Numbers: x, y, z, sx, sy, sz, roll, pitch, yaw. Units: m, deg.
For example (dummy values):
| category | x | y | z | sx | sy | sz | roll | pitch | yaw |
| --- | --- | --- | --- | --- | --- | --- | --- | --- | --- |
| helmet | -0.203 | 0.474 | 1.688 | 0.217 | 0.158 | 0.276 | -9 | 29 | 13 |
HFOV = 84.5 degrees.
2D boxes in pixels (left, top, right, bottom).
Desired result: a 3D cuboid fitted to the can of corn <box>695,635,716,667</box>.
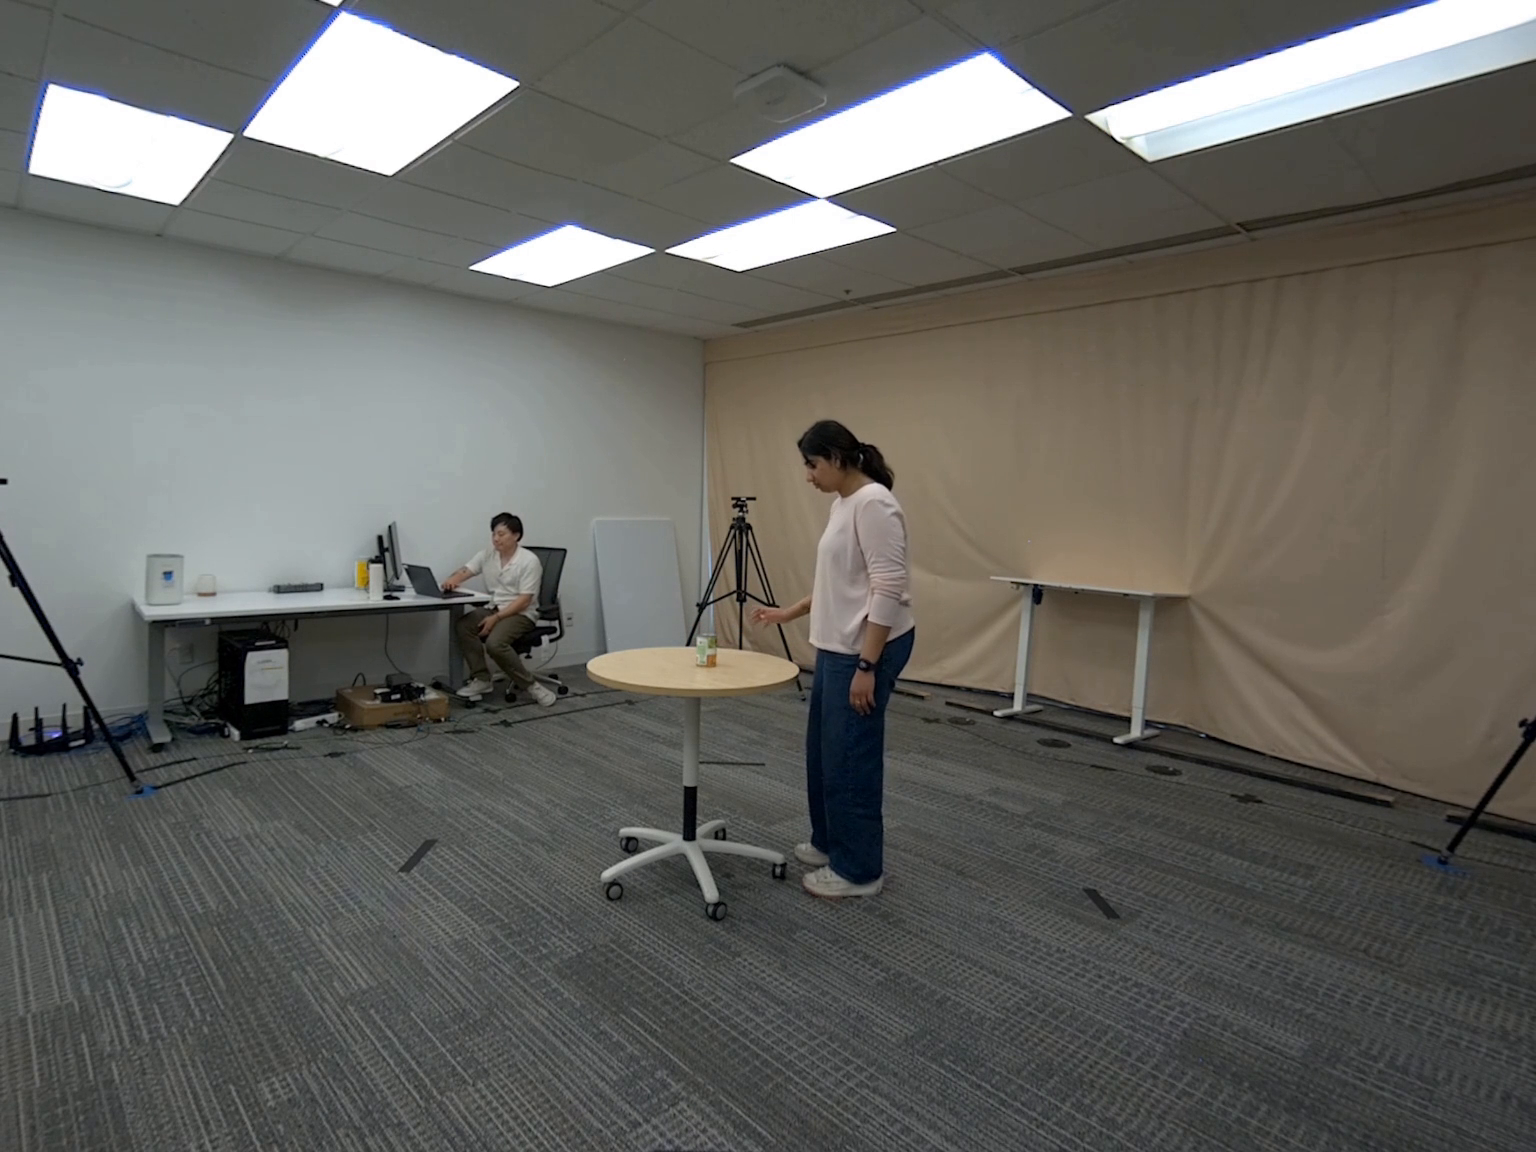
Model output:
| category | x | y | z | sx | sy | sz | roll | pitch | yaw |
| --- | --- | --- | --- | --- | --- | --- | --- | --- | --- |
| can of corn | -0.222 | 0.268 | 3.048 | 0.074 | 0.111 | 0.074 | 3 | 3 | -2 |
